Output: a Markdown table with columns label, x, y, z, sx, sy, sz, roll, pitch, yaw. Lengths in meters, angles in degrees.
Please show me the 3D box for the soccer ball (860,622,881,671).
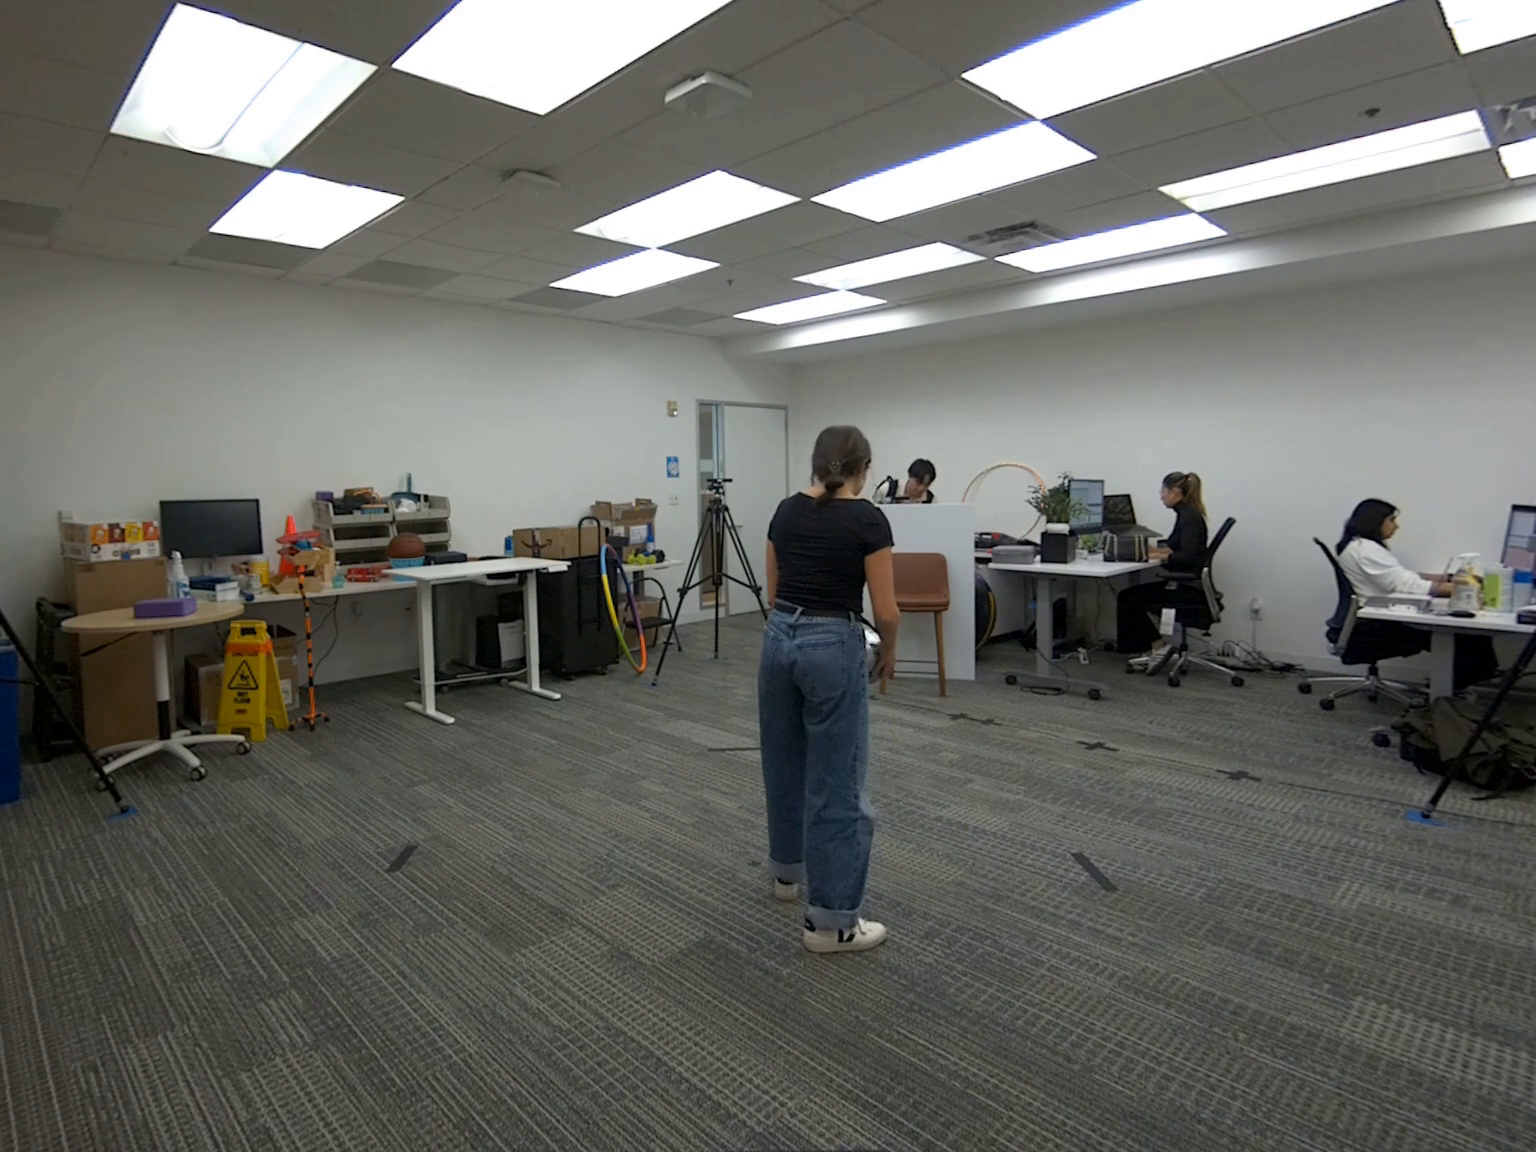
| label | x | y | z | sx | sy | sz | roll | pitch | yaw |
| --- | --- | --- | --- | --- | --- | --- | --- | --- | --- |
| soccer ball | 0.313 | 0.253 | 2.849 | 0.187 | 0.187 | 0.188 | -1 | 5 | -2 |
